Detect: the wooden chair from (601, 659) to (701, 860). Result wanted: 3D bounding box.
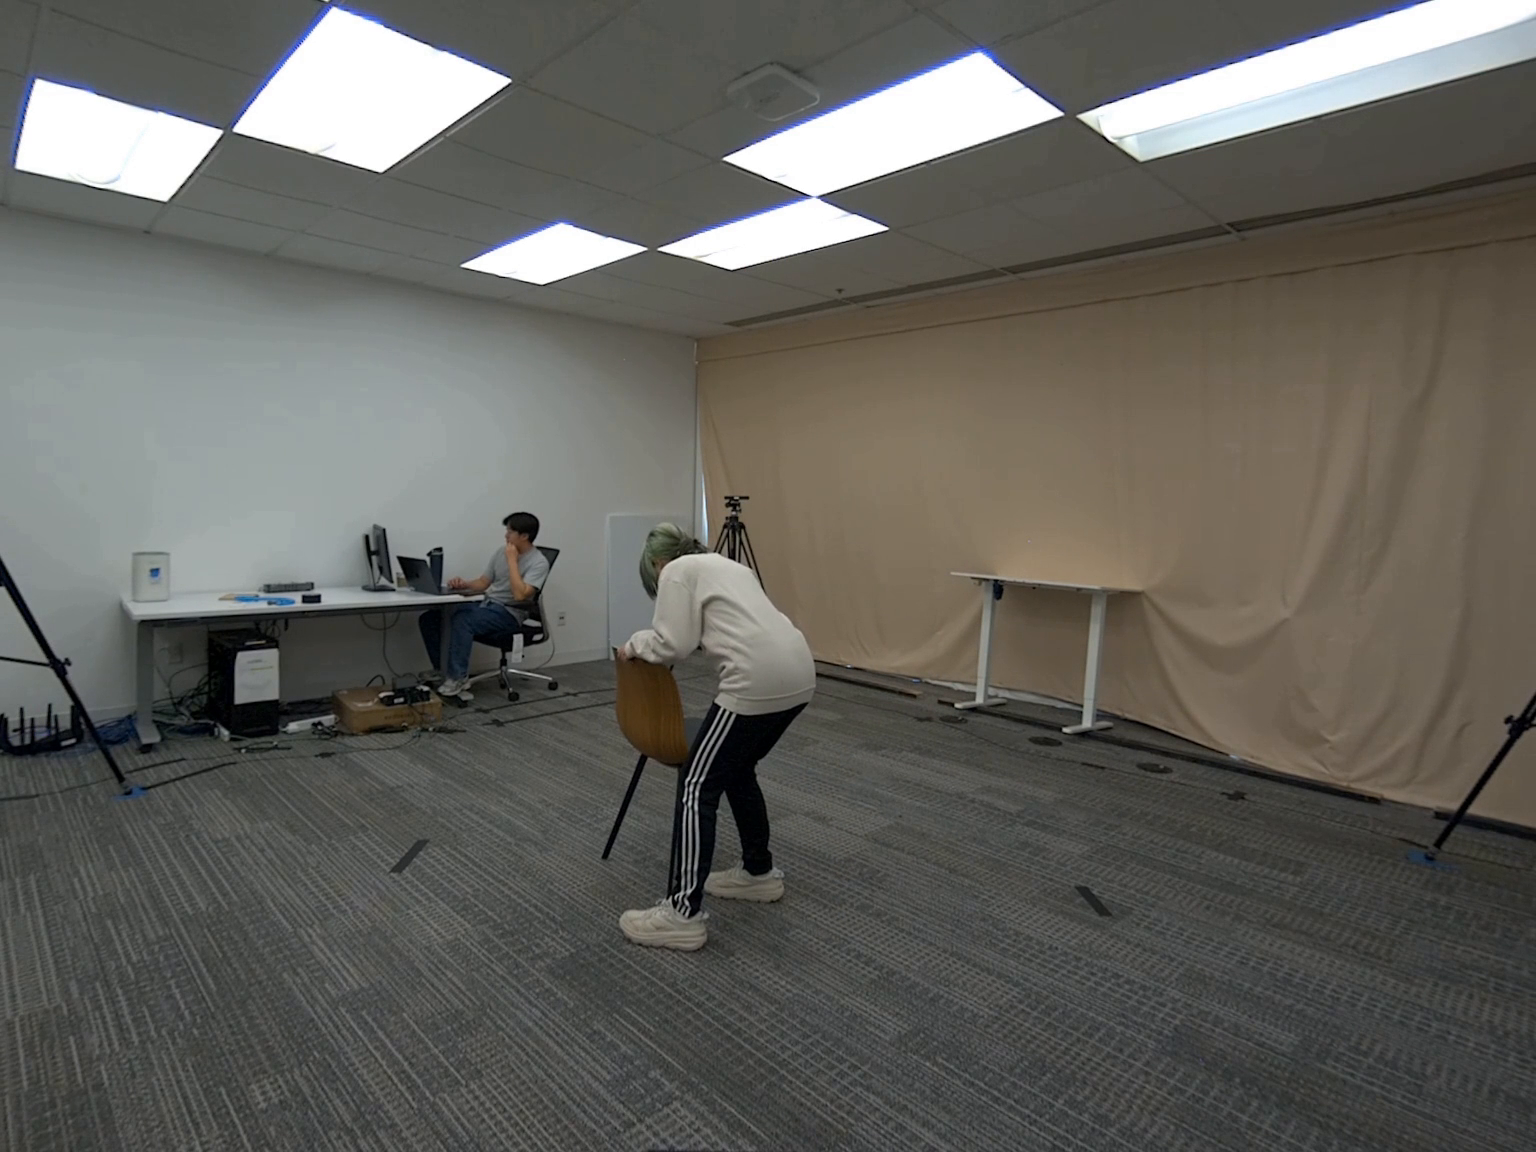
[{"bbox_3d":[-0.315,0.668,3.168,0.512,0.873,0.490,-7,8,-39],"label":"wooden chair"}]
